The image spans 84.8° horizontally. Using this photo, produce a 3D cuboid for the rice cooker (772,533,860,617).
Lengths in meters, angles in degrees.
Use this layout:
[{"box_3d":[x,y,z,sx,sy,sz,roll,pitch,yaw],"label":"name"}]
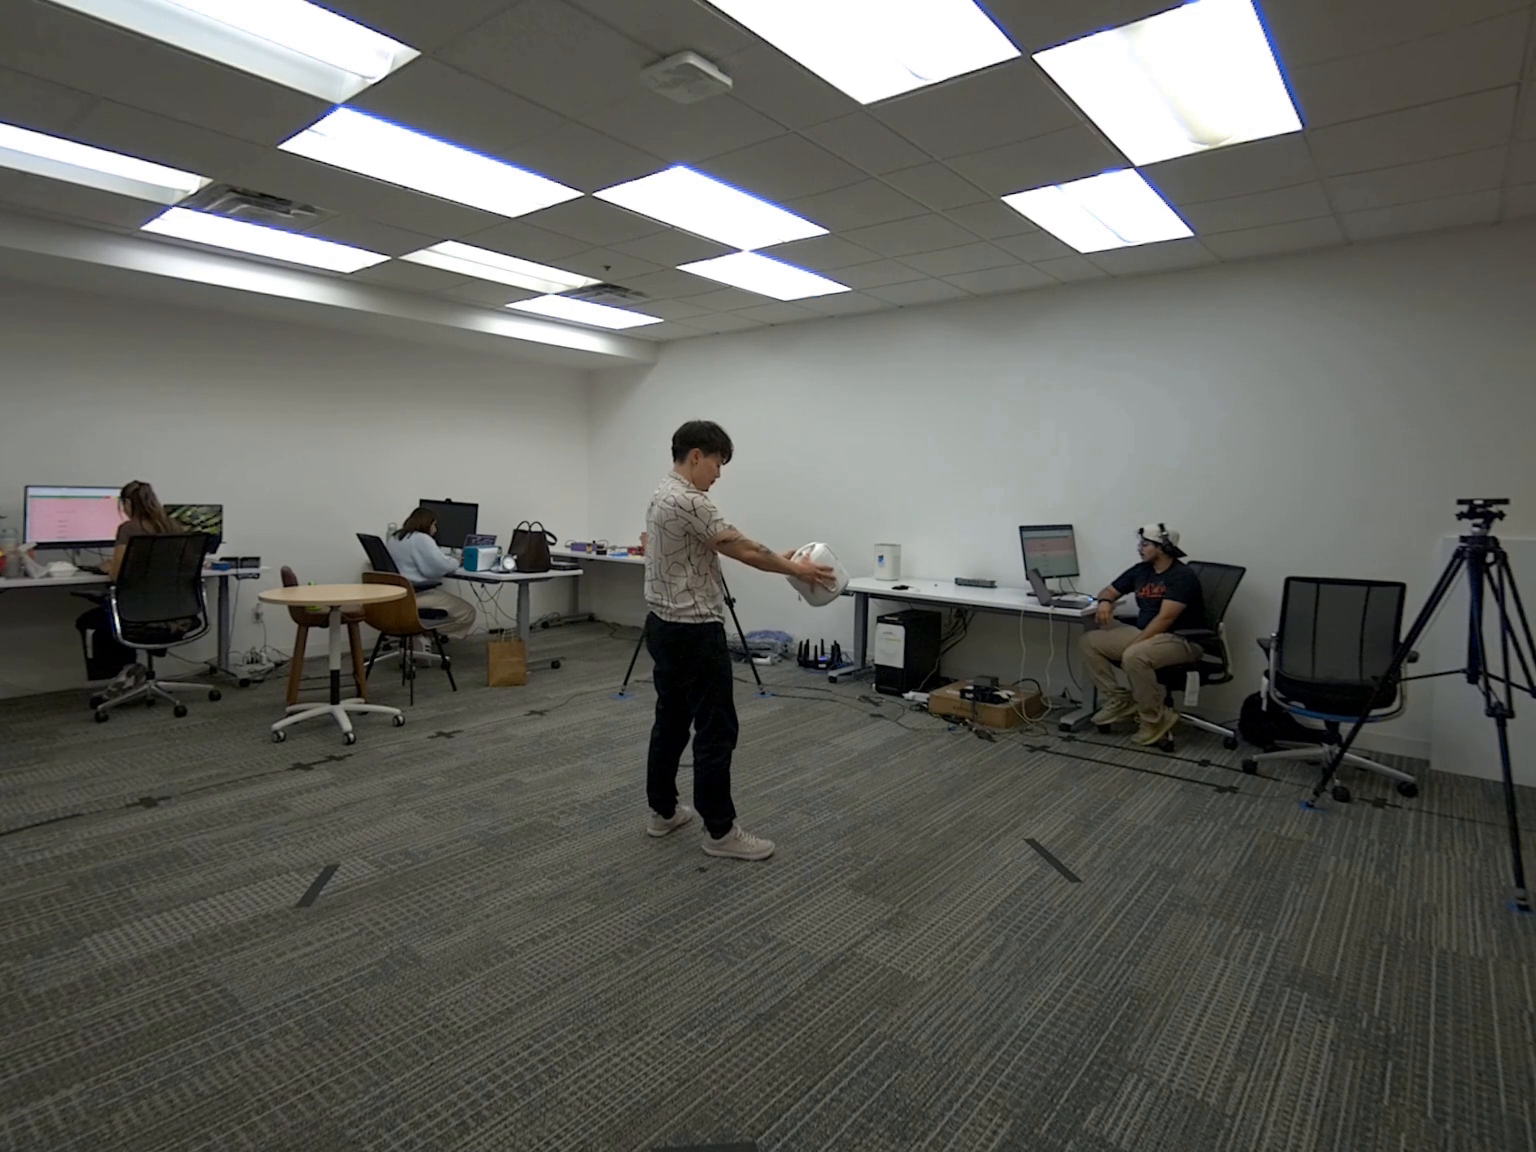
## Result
[{"box_3d":[0.183,-0.012,3.456,0.220,0.229,0.221,-43,12,-6],"label":"rice cooker"}]
